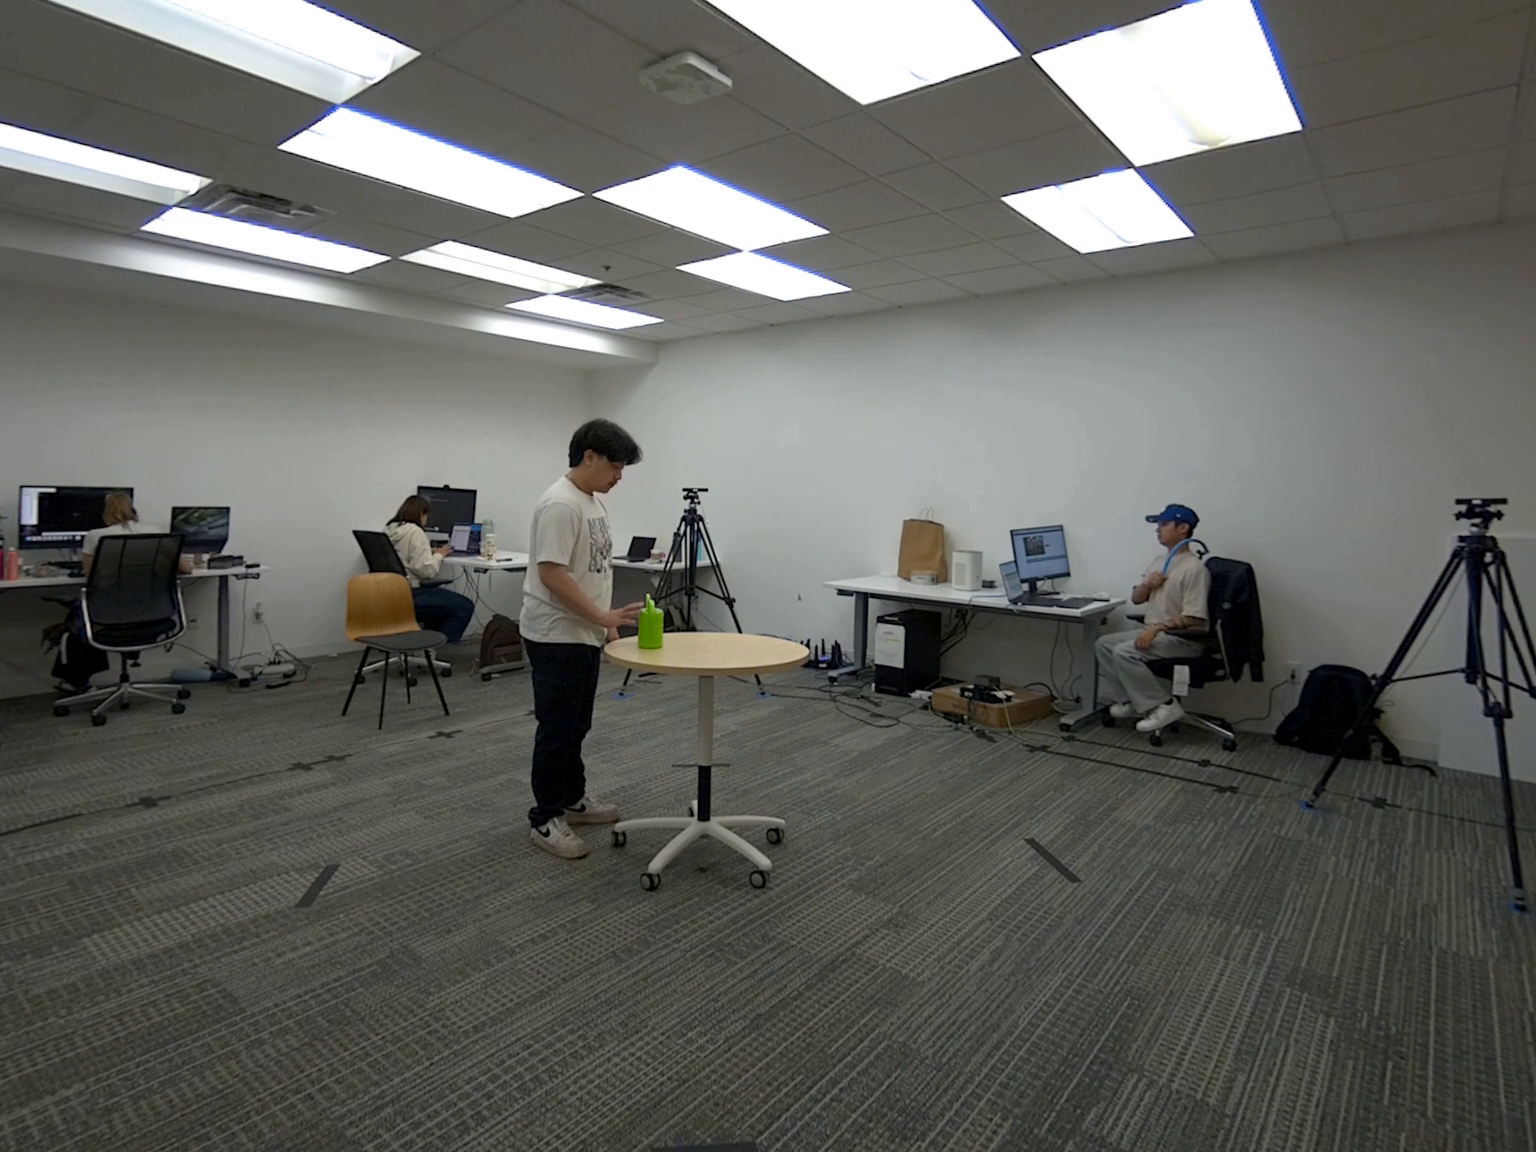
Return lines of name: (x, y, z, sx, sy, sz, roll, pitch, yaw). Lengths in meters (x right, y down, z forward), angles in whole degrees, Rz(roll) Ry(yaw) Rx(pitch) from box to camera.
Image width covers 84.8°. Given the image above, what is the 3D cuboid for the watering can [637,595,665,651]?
watering can: (-0.460, 0.176, 3.257, 0.098, 0.176, 0.279, 2, 5, -1)
